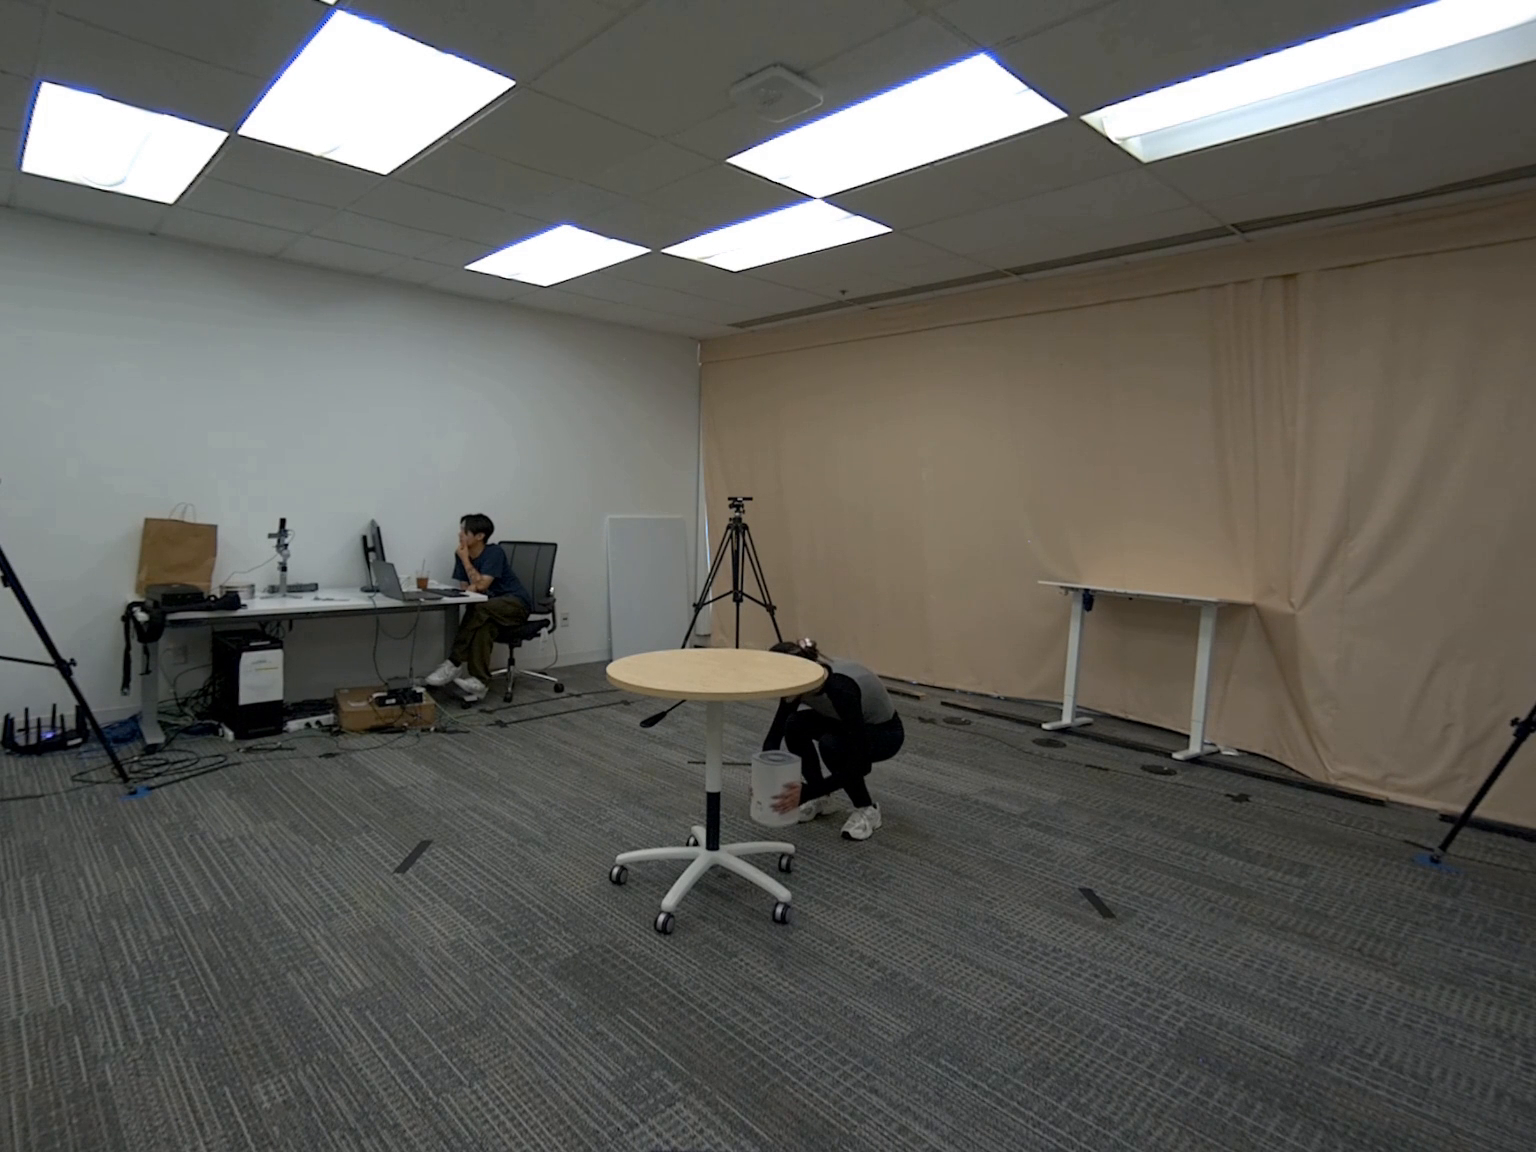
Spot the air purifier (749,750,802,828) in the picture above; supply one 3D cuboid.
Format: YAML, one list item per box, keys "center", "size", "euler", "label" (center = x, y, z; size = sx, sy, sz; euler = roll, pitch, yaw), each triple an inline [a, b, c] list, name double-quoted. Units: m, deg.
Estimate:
- center: [0.024, 0.853, 3.374]
  size: [0.167, 0.265, 0.175]
  euler: [-1, 4, -41]
  label: "air purifier"
